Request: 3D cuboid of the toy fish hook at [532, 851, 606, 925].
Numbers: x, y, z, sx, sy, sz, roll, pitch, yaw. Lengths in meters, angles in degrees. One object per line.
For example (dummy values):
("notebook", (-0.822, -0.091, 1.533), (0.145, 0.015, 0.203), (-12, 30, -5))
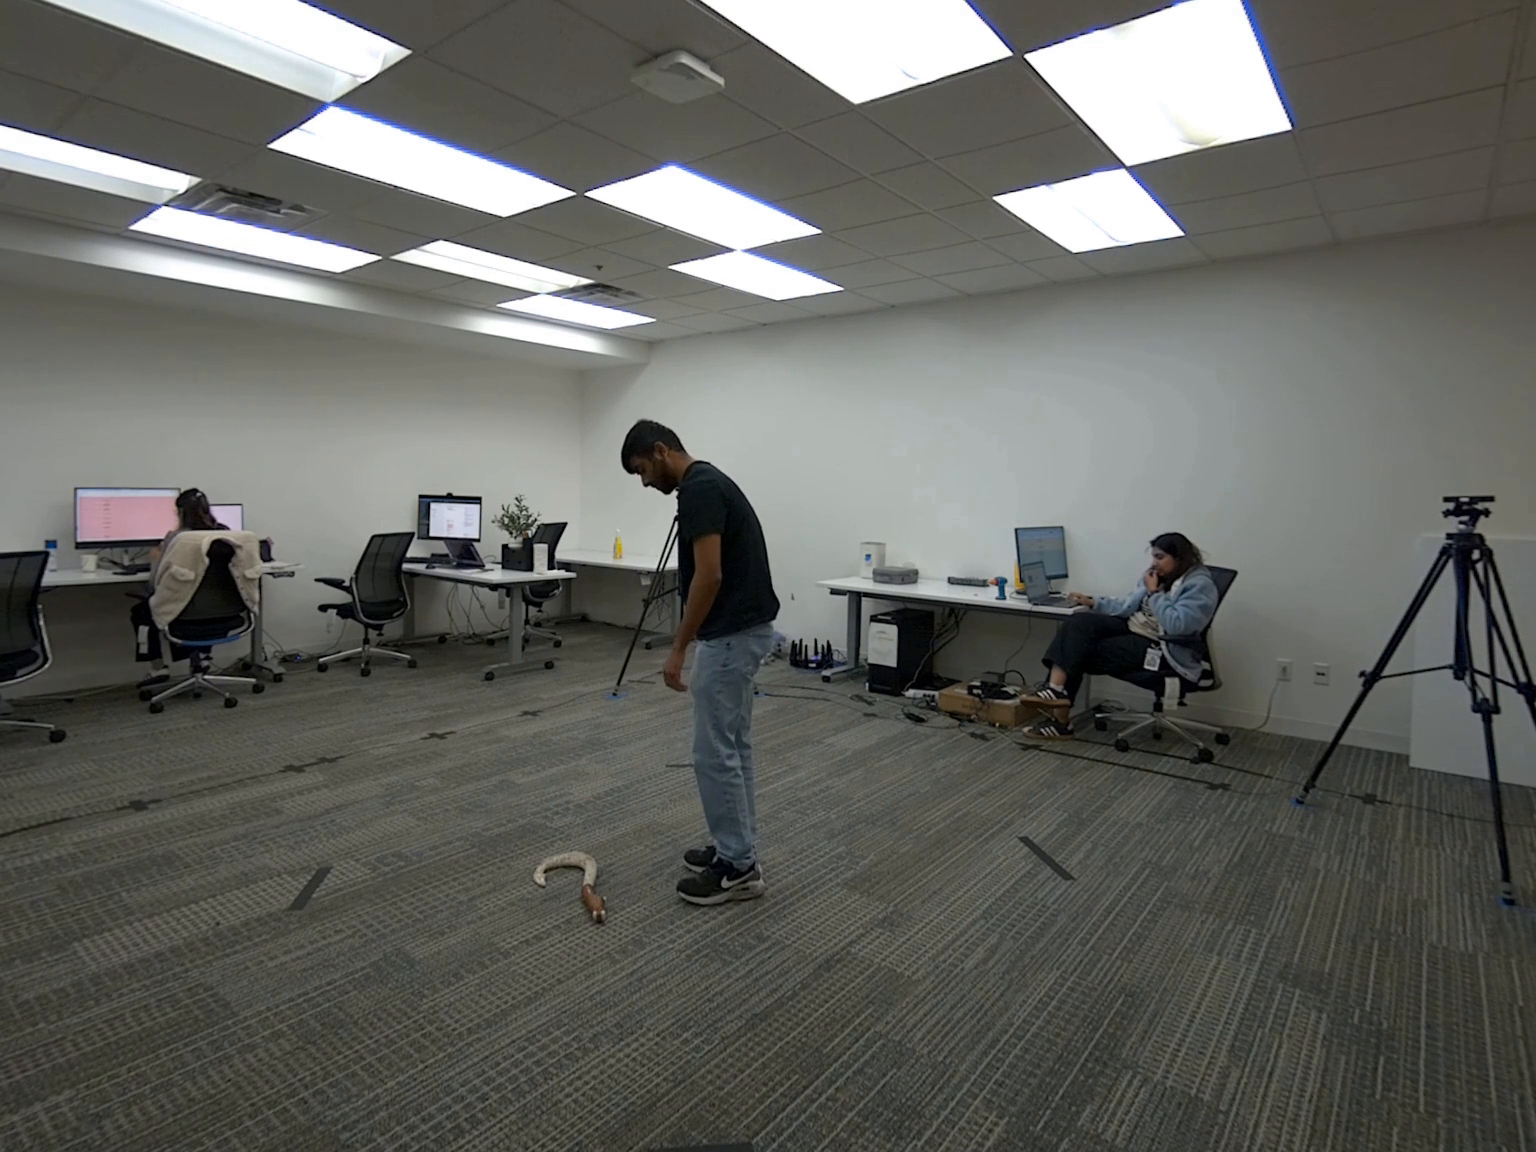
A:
("toy fish hook", (-0.683, 1.065, 2.912), (0.221, 0.048, 0.519), (-9, 8, -21))
